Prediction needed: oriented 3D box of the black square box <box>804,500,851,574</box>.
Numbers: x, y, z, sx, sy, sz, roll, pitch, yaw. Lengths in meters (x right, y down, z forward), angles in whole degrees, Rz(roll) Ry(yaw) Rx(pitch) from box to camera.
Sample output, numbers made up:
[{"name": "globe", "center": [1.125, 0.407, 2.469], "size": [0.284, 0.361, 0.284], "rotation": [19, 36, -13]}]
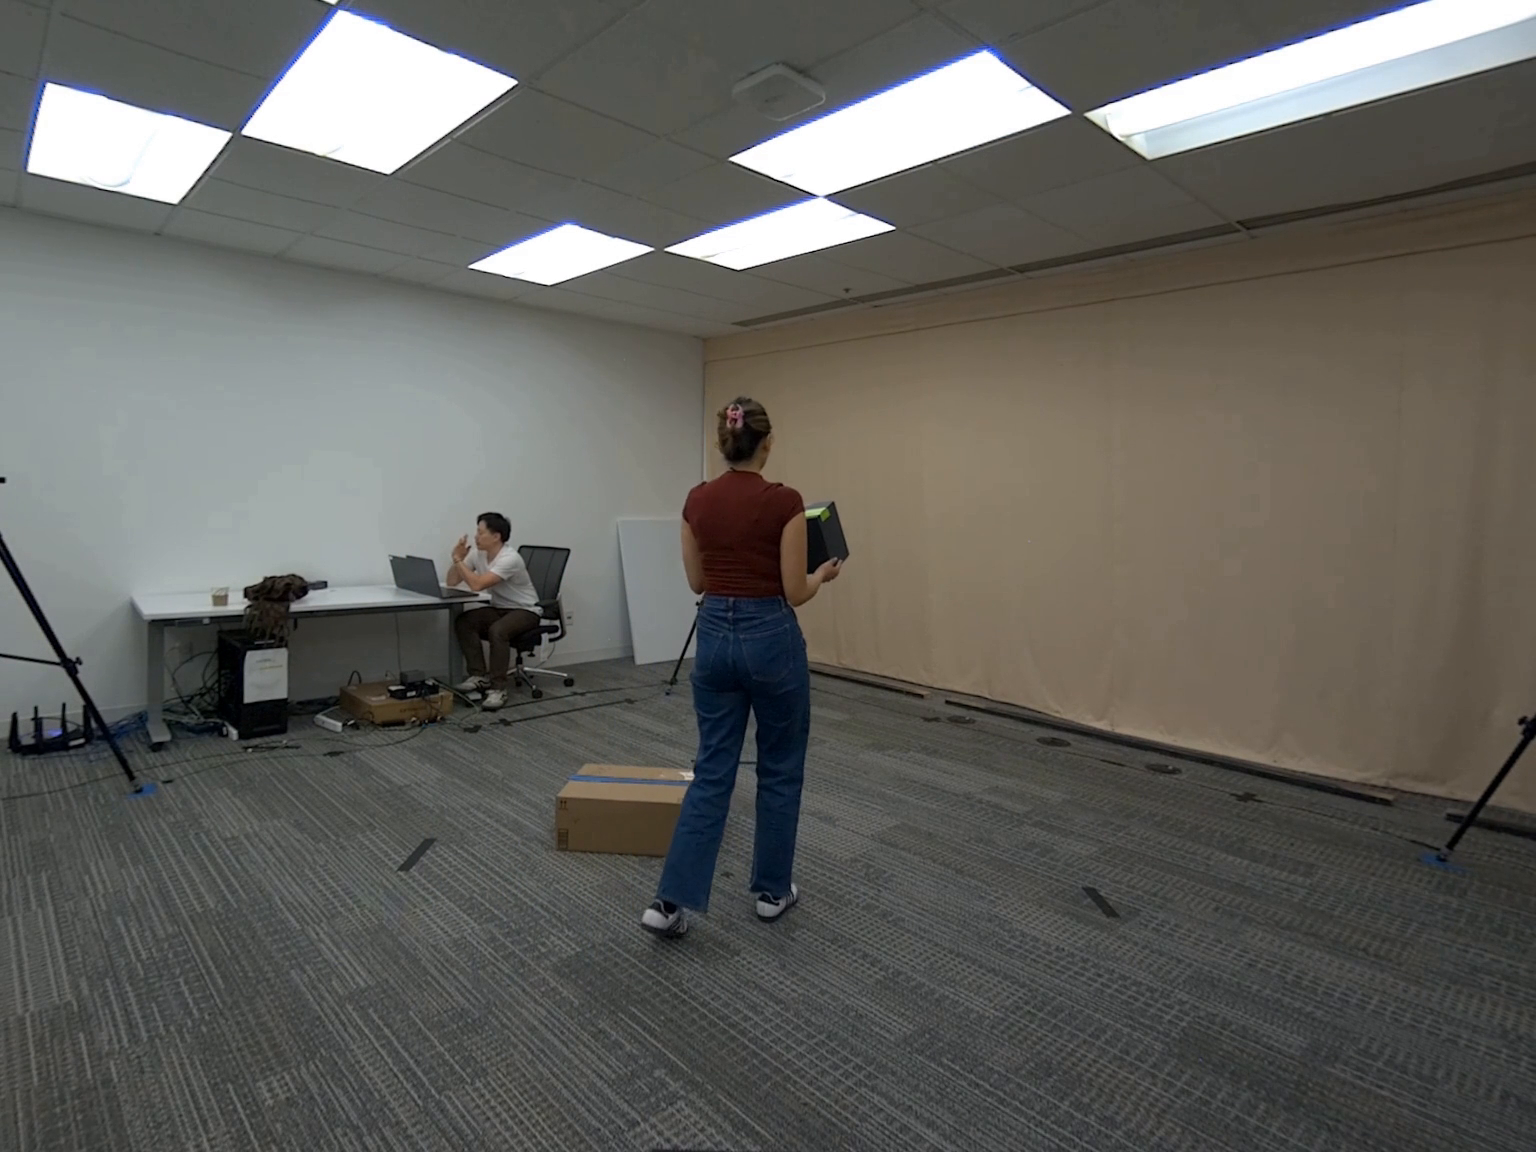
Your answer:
[{"name": "black square box", "center": [0.137, -0.130, 3.041], "size": [0.232, 0.214, 0.155], "rotation": [-7, 20, 32]}]
